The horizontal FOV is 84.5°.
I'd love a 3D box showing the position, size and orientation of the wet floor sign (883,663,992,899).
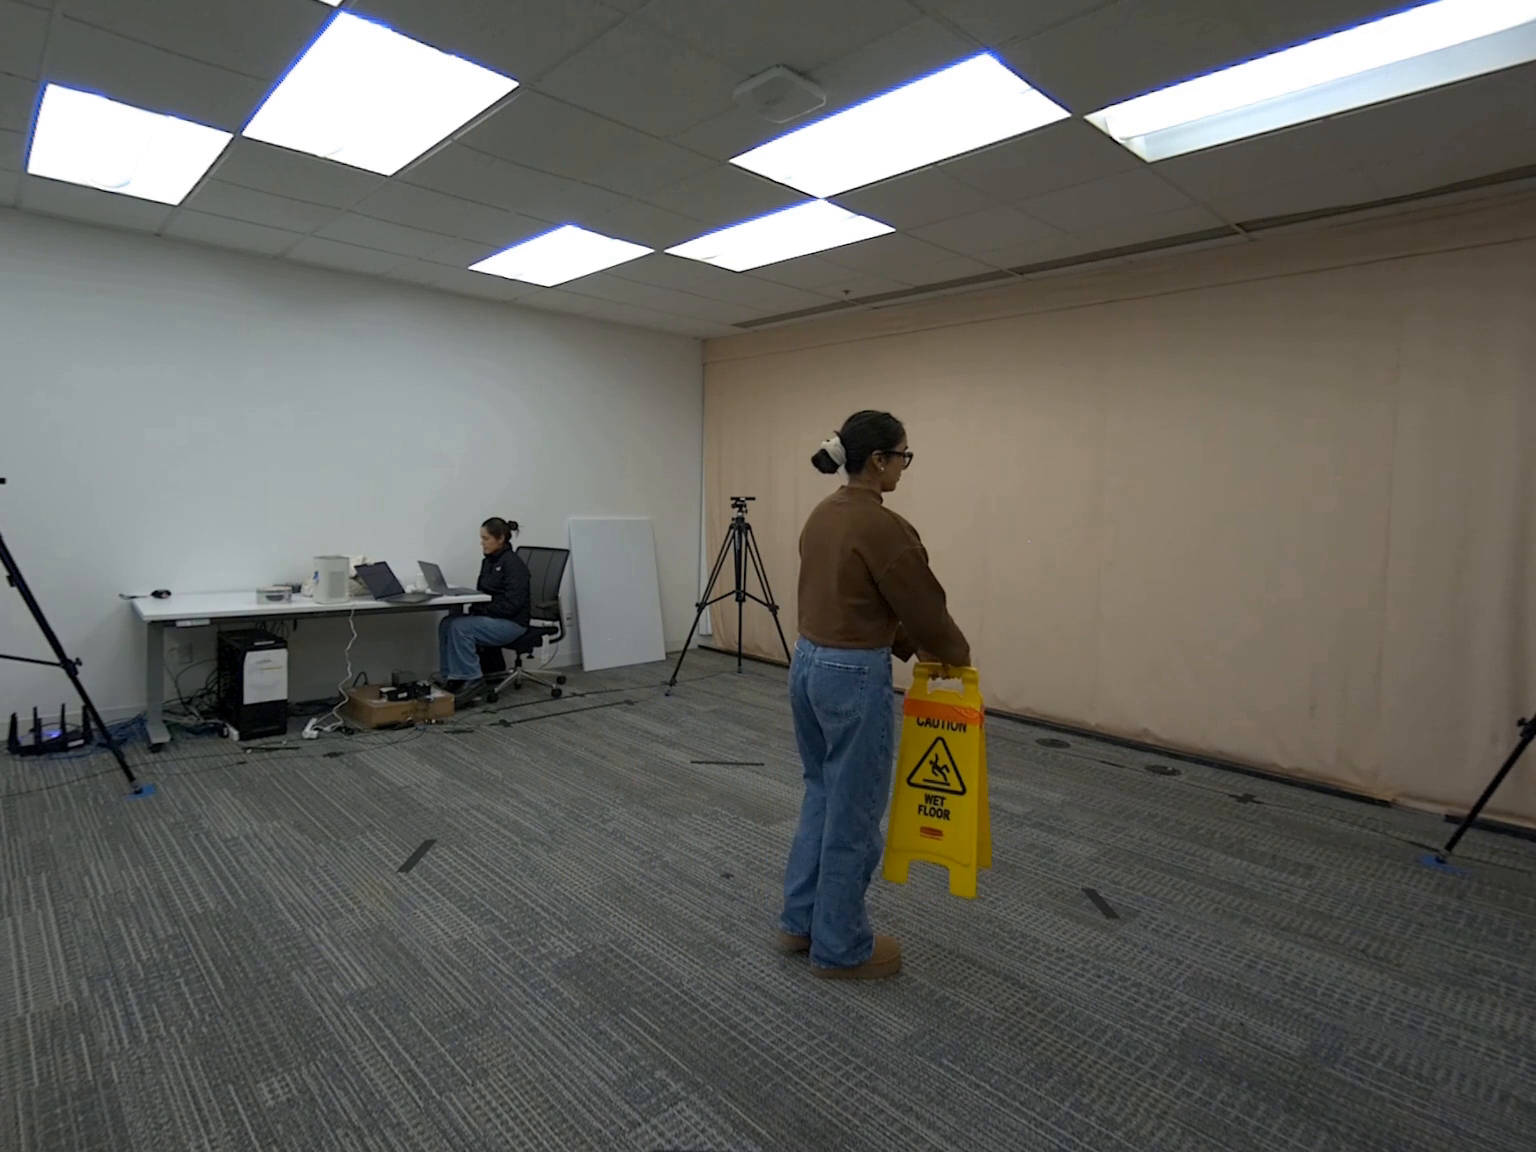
[{"bbox_3d":[0.531,0.598,2.595,0.287,0.646,0.284,2,1,25],"label":"wet floor sign"}]
